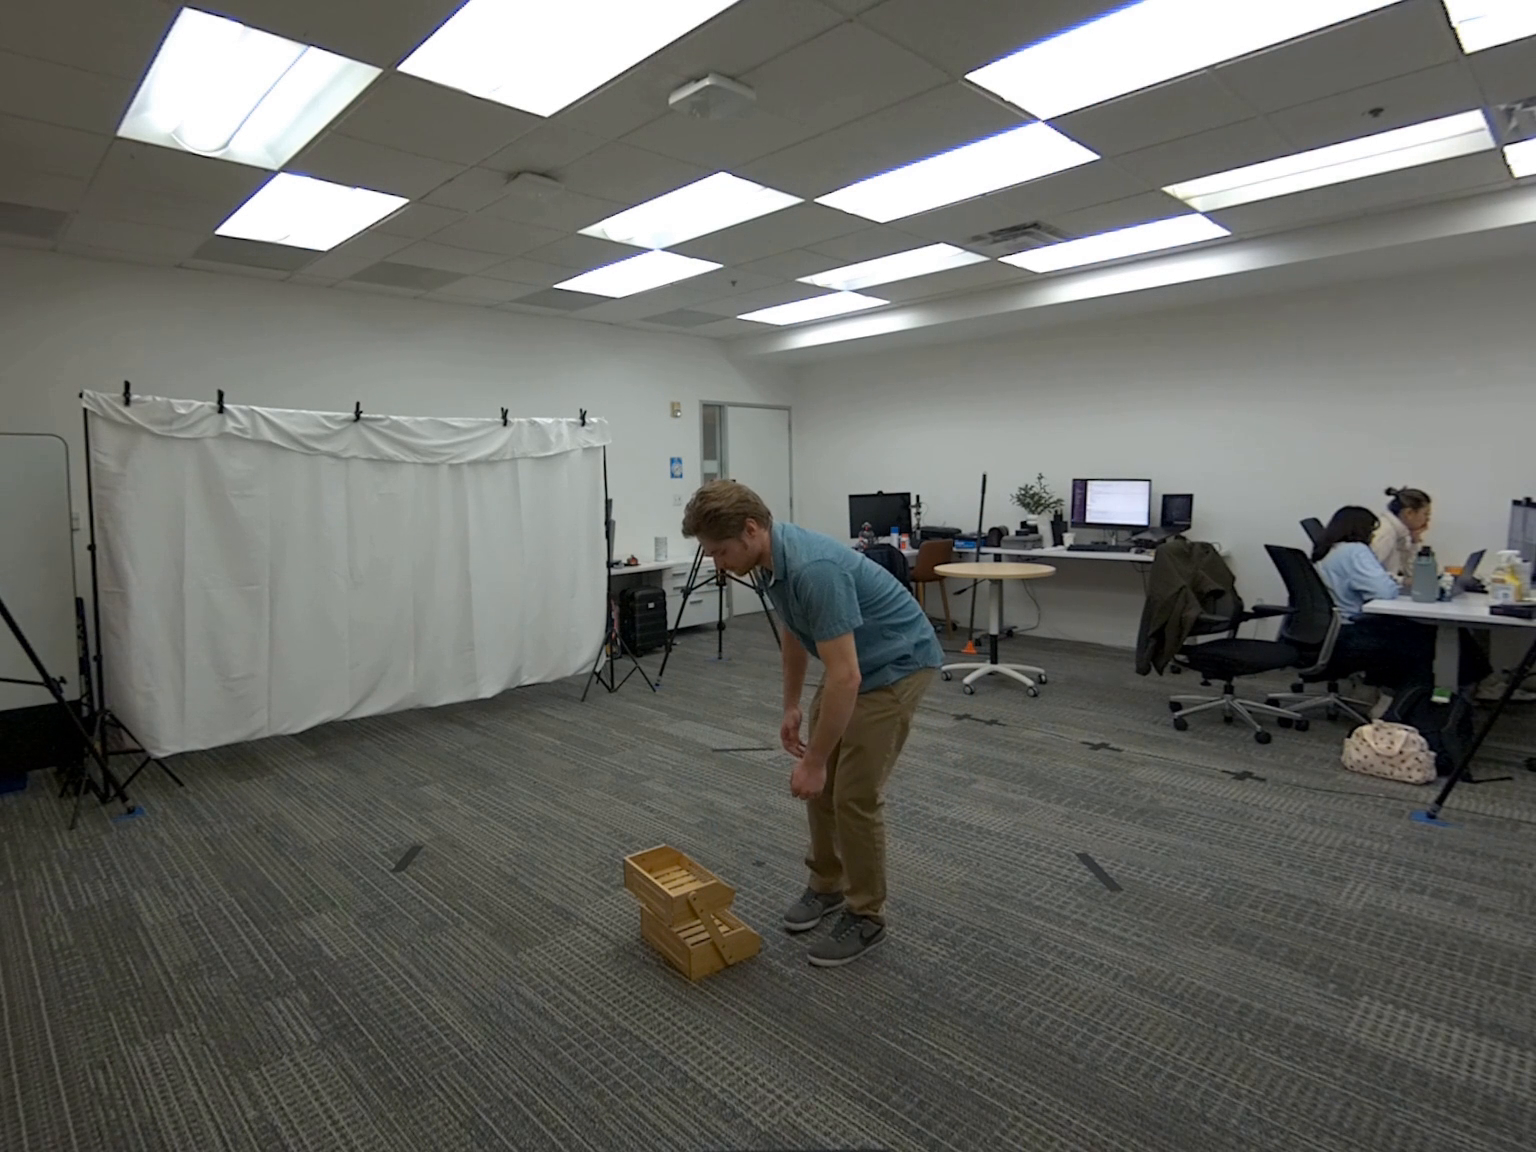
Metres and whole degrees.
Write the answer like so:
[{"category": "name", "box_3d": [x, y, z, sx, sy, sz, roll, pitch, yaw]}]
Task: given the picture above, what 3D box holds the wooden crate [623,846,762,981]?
[{"category": "wooden crate", "box_3d": [-0.218, 0.980, 2.560, 0.295, 0.272, 0.334, -6, 7, -35]}]
